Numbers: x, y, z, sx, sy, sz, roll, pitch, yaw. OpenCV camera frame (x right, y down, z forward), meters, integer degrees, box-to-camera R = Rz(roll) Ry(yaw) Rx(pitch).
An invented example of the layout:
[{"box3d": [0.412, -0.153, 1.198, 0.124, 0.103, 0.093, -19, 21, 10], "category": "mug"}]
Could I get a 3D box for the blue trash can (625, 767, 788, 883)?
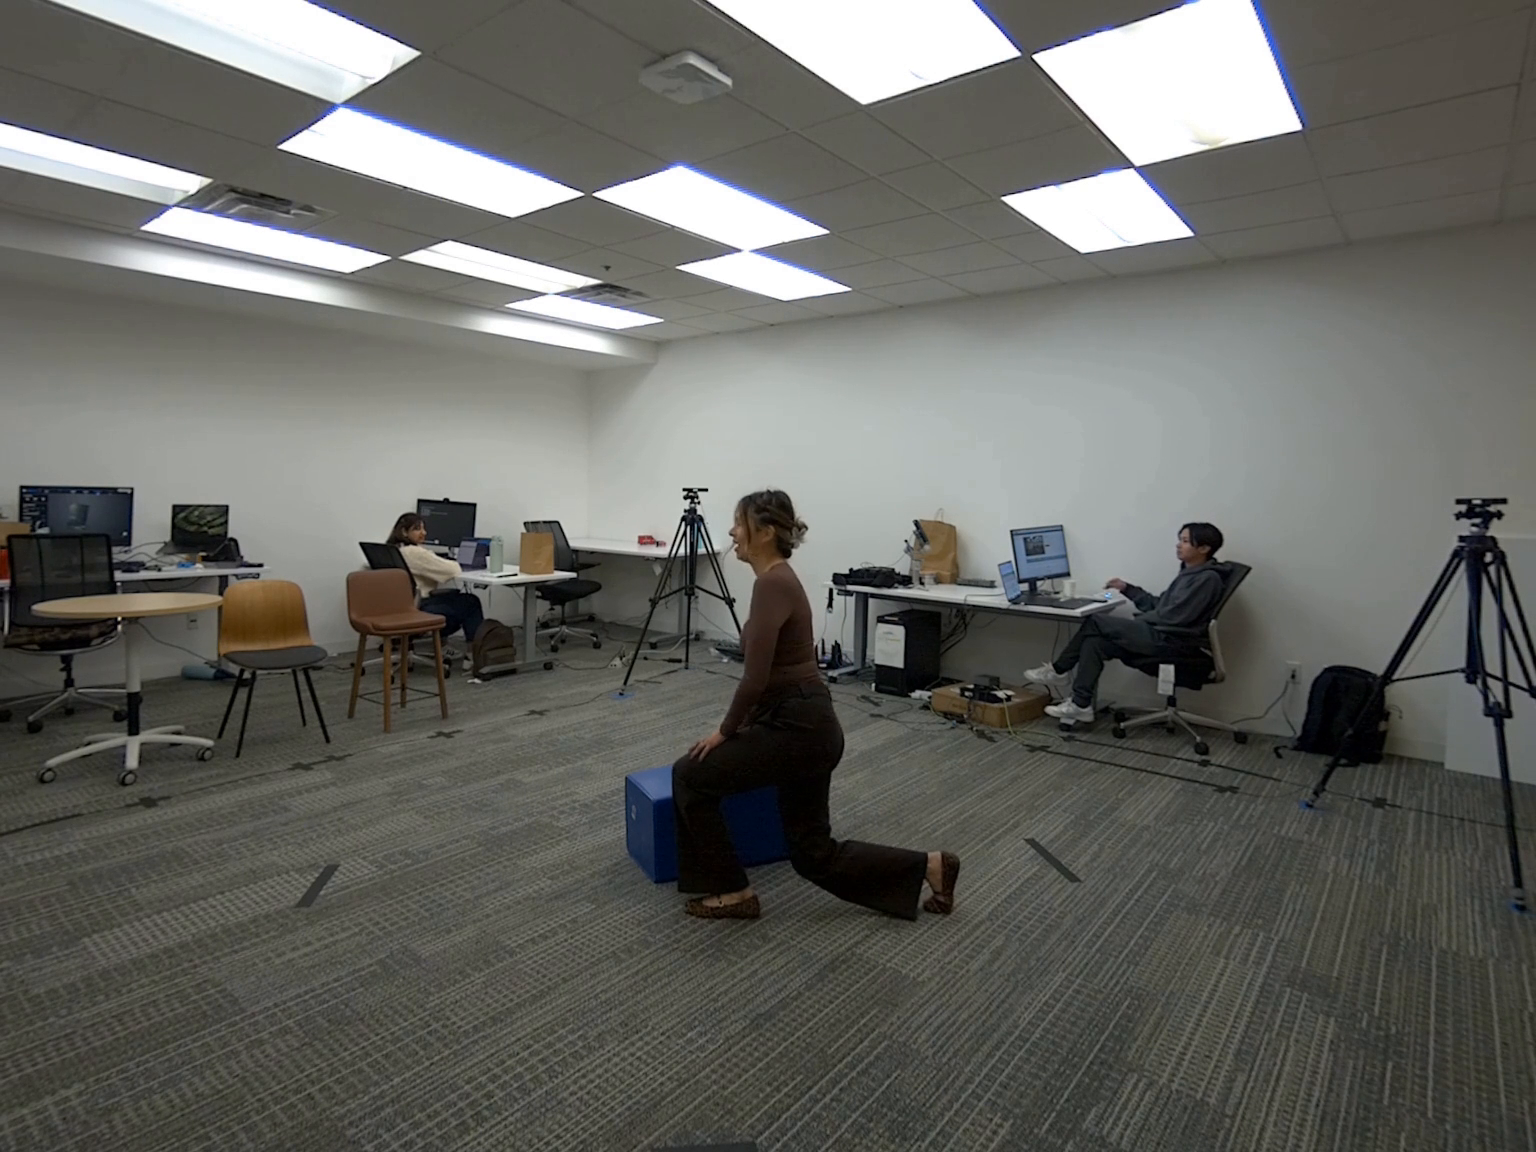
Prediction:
[{"box3d": [-0.171, 0.882, 3.256, 0.697, 0.376, 0.385, -4, 7, -26], "category": "blue trash can"}]
